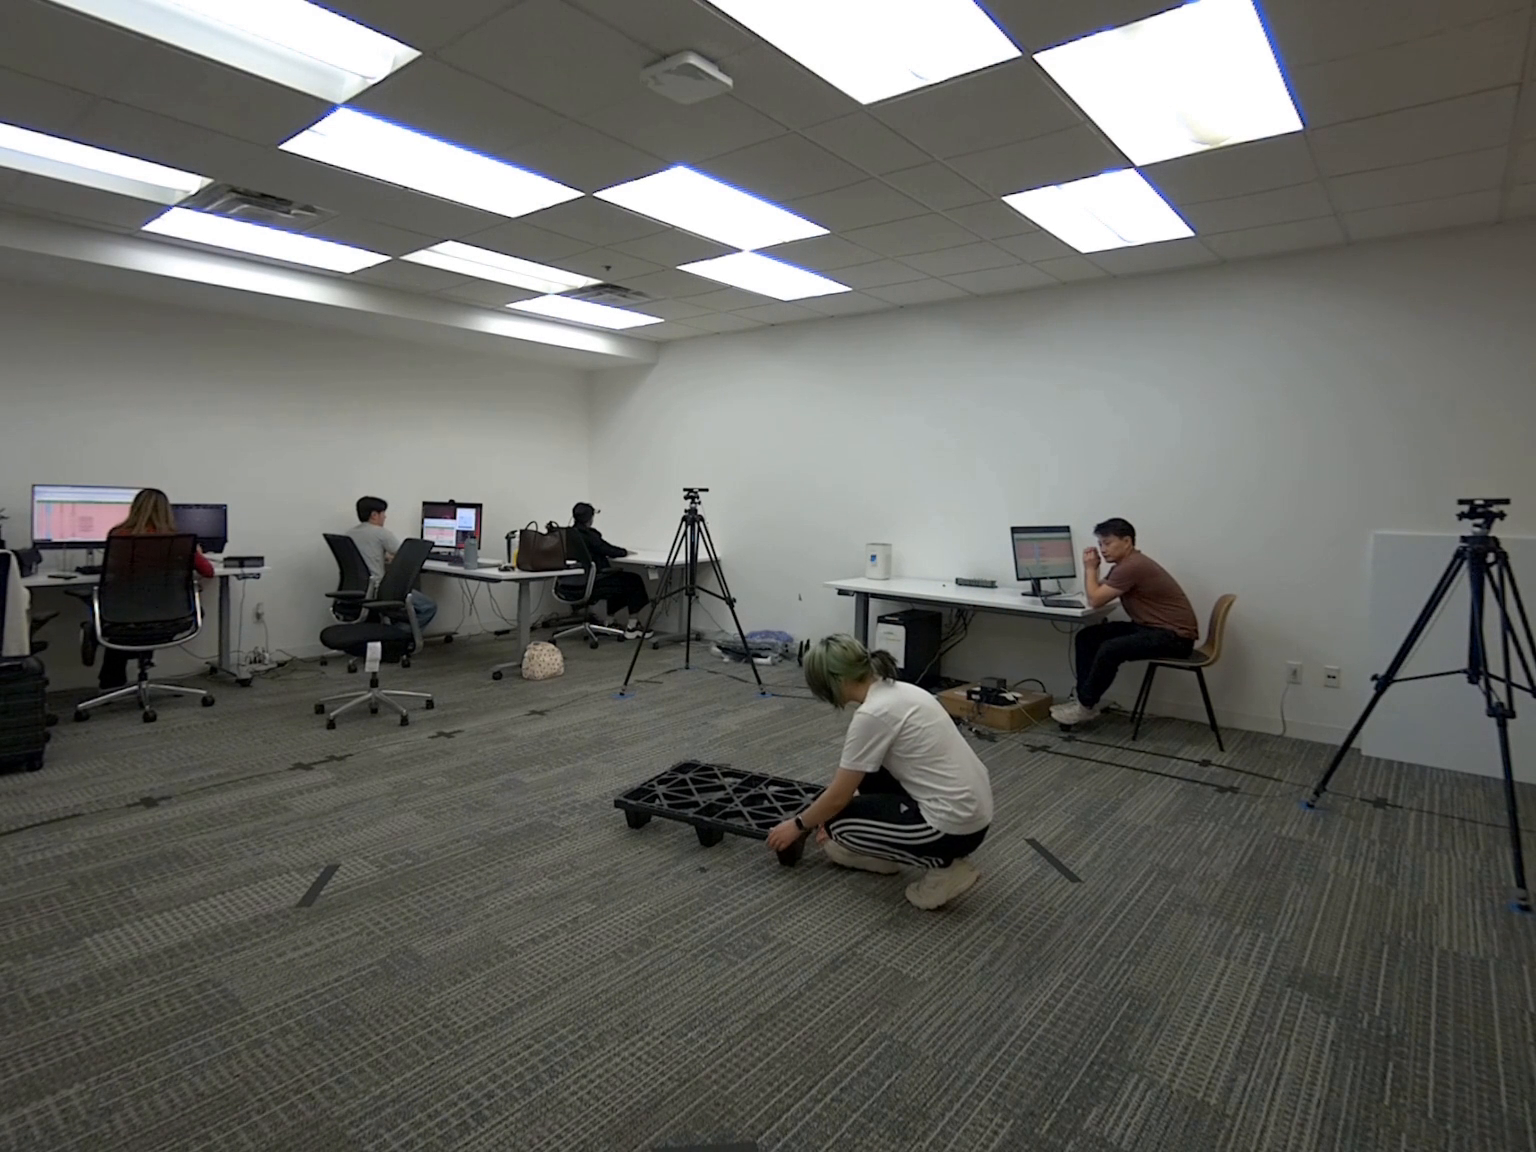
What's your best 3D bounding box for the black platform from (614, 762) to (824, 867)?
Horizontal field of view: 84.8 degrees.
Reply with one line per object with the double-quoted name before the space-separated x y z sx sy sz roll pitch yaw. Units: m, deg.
"black platform" -0.160 0.963 3.520 0.828 0.143 0.591 4 6 26
